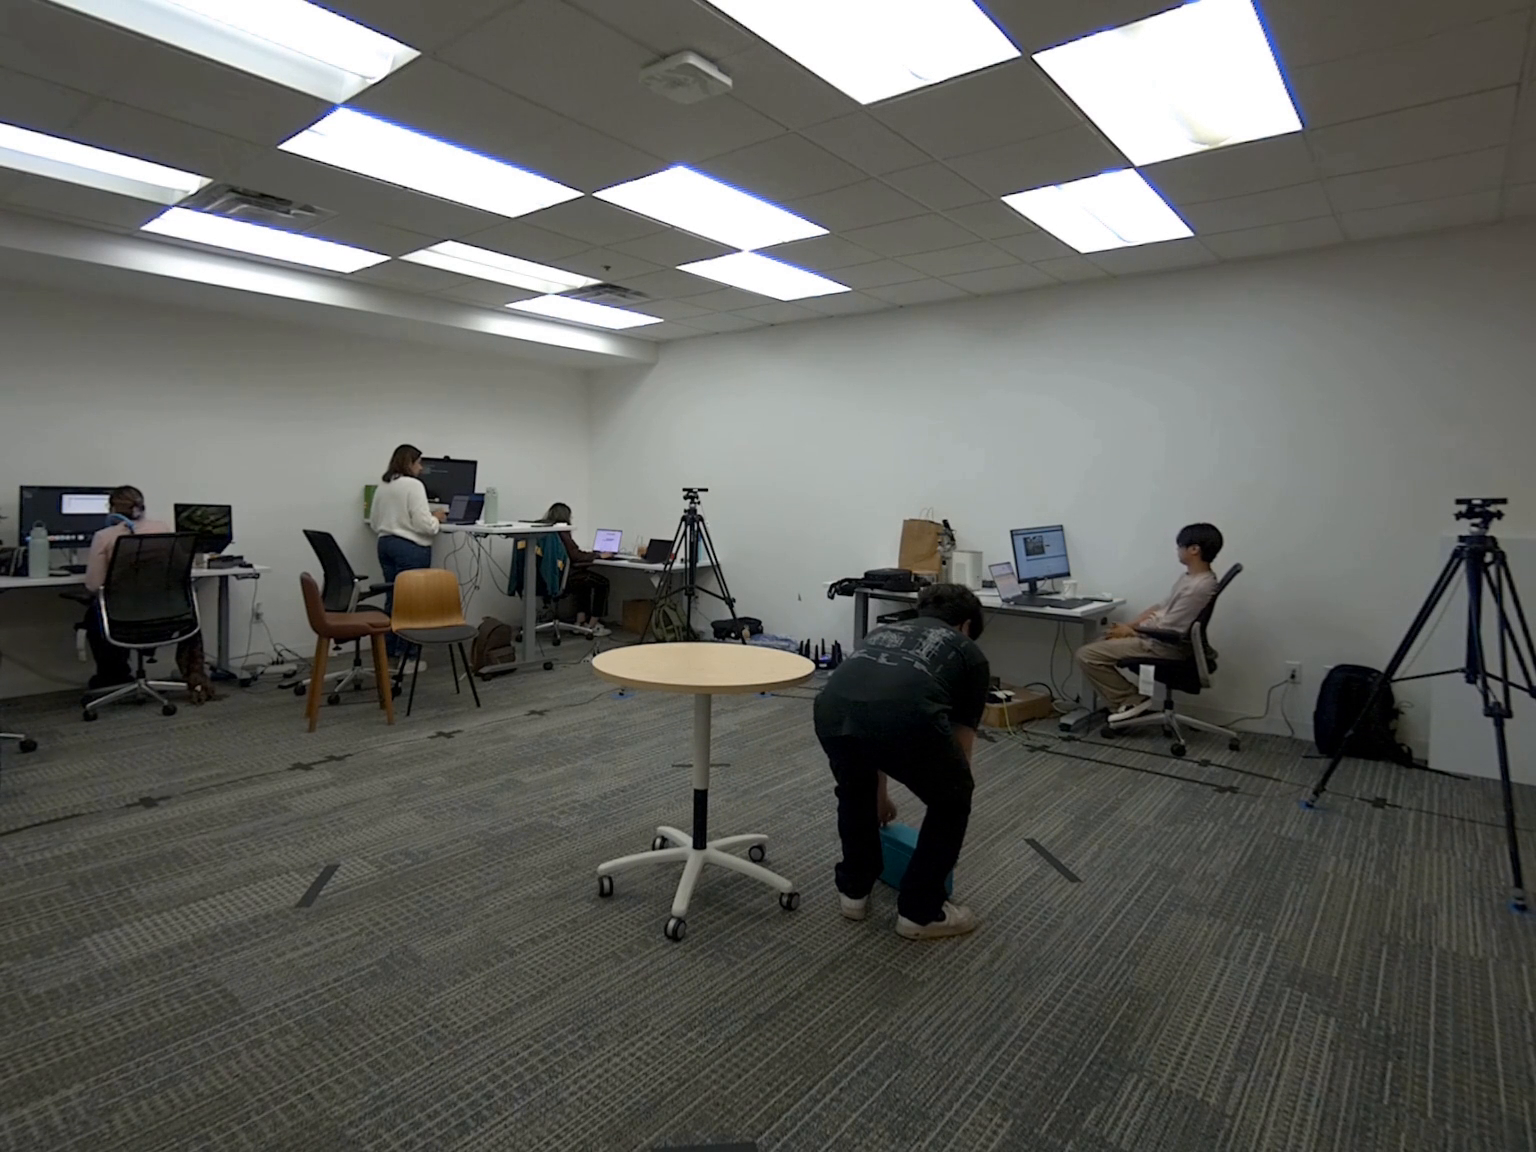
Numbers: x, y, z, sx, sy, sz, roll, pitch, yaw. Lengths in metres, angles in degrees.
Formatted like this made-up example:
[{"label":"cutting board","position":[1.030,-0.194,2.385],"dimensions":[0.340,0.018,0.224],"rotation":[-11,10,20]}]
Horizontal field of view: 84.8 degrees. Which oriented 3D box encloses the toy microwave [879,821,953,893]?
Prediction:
[{"label":"toy microwave","position":[0.504,1.003,2.995],"dimensions":[0.148,0.183,0.296],"rotation":[1,6,-36]}]
